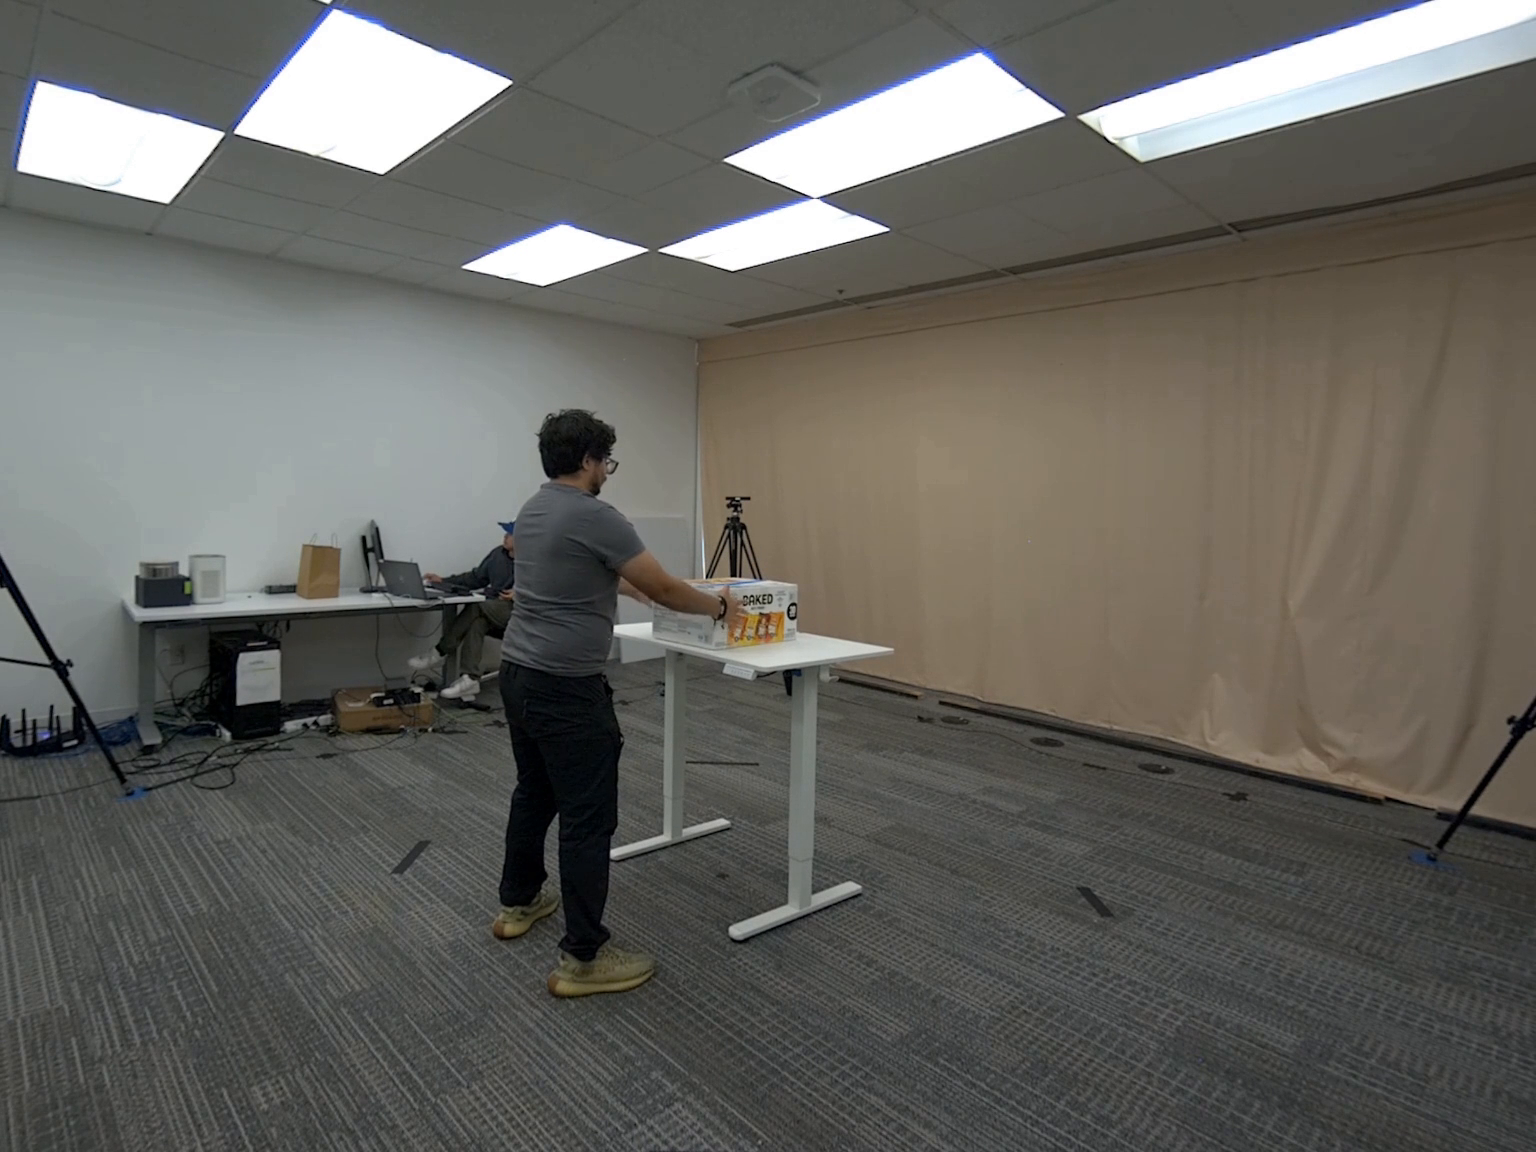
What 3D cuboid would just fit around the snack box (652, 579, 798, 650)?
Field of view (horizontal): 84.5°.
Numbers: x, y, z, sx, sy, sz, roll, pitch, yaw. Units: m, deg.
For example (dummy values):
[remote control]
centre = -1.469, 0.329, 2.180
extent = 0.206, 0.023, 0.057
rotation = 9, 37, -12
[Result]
[snack box]
centre = -0.161, 0.129, 3.031
extent = 0.396, 0.205, 0.349
rotation = -3, 5, -44
